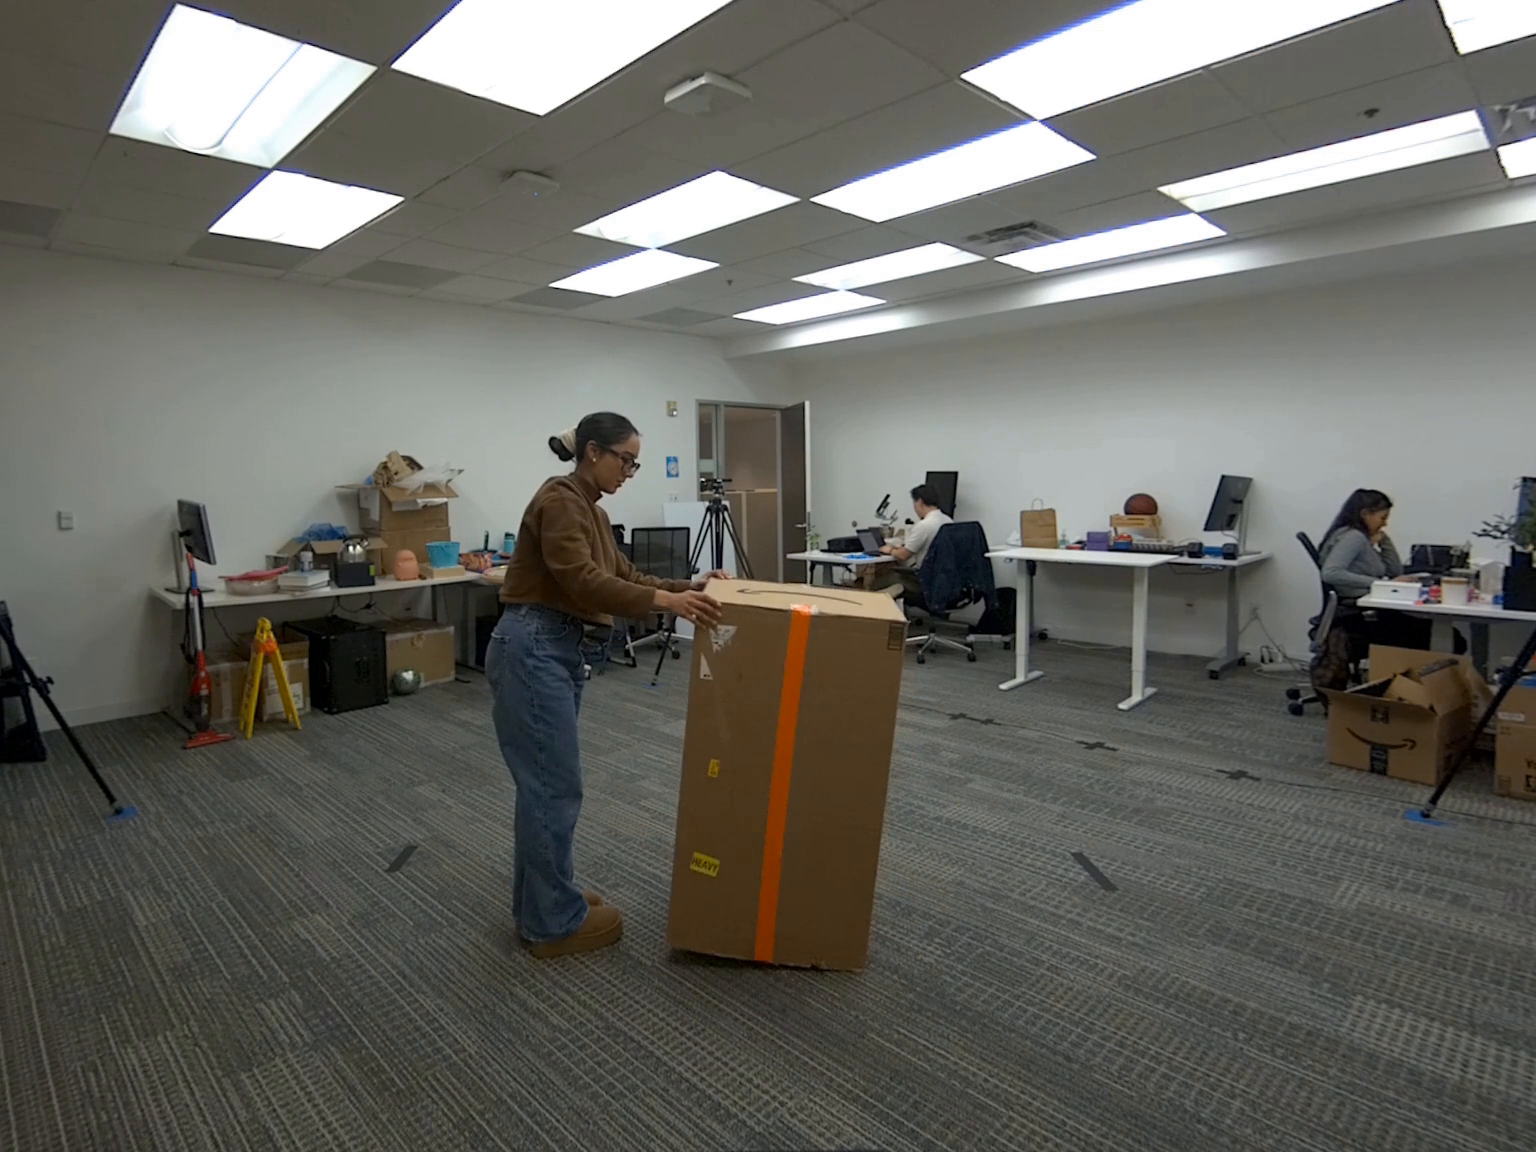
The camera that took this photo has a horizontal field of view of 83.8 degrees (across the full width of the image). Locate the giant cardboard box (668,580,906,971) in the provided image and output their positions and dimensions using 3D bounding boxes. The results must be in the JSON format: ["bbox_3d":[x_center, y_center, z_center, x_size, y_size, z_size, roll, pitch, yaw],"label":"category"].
[{"bbox_3d":[0.041,0.568,2.580,0.585,1.022,0.448,6,6,1],"label":"giant cardboard box"}]
